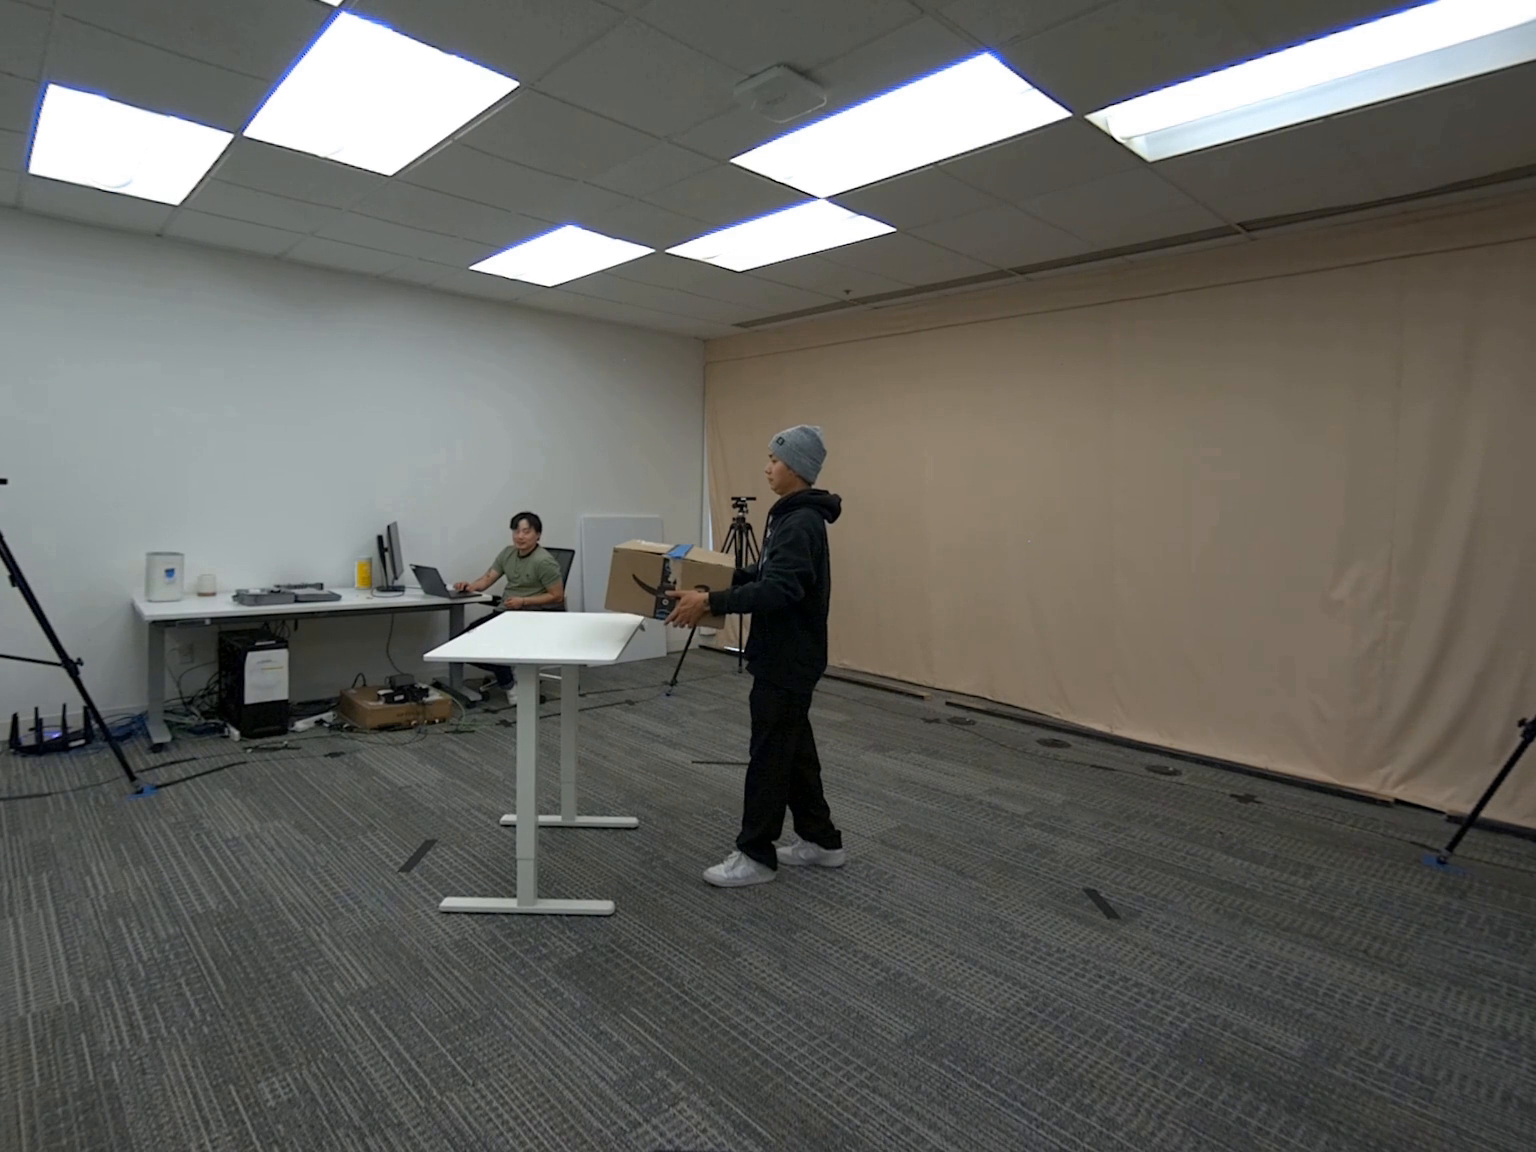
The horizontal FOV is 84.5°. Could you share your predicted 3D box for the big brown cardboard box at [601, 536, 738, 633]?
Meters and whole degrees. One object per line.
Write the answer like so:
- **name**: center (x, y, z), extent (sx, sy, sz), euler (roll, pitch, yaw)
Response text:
- **big brown cardboard box**: center (-0.341, 0.012, 3.117), extent (0.418, 0.232, 0.591), euler (8, 6, -1)
